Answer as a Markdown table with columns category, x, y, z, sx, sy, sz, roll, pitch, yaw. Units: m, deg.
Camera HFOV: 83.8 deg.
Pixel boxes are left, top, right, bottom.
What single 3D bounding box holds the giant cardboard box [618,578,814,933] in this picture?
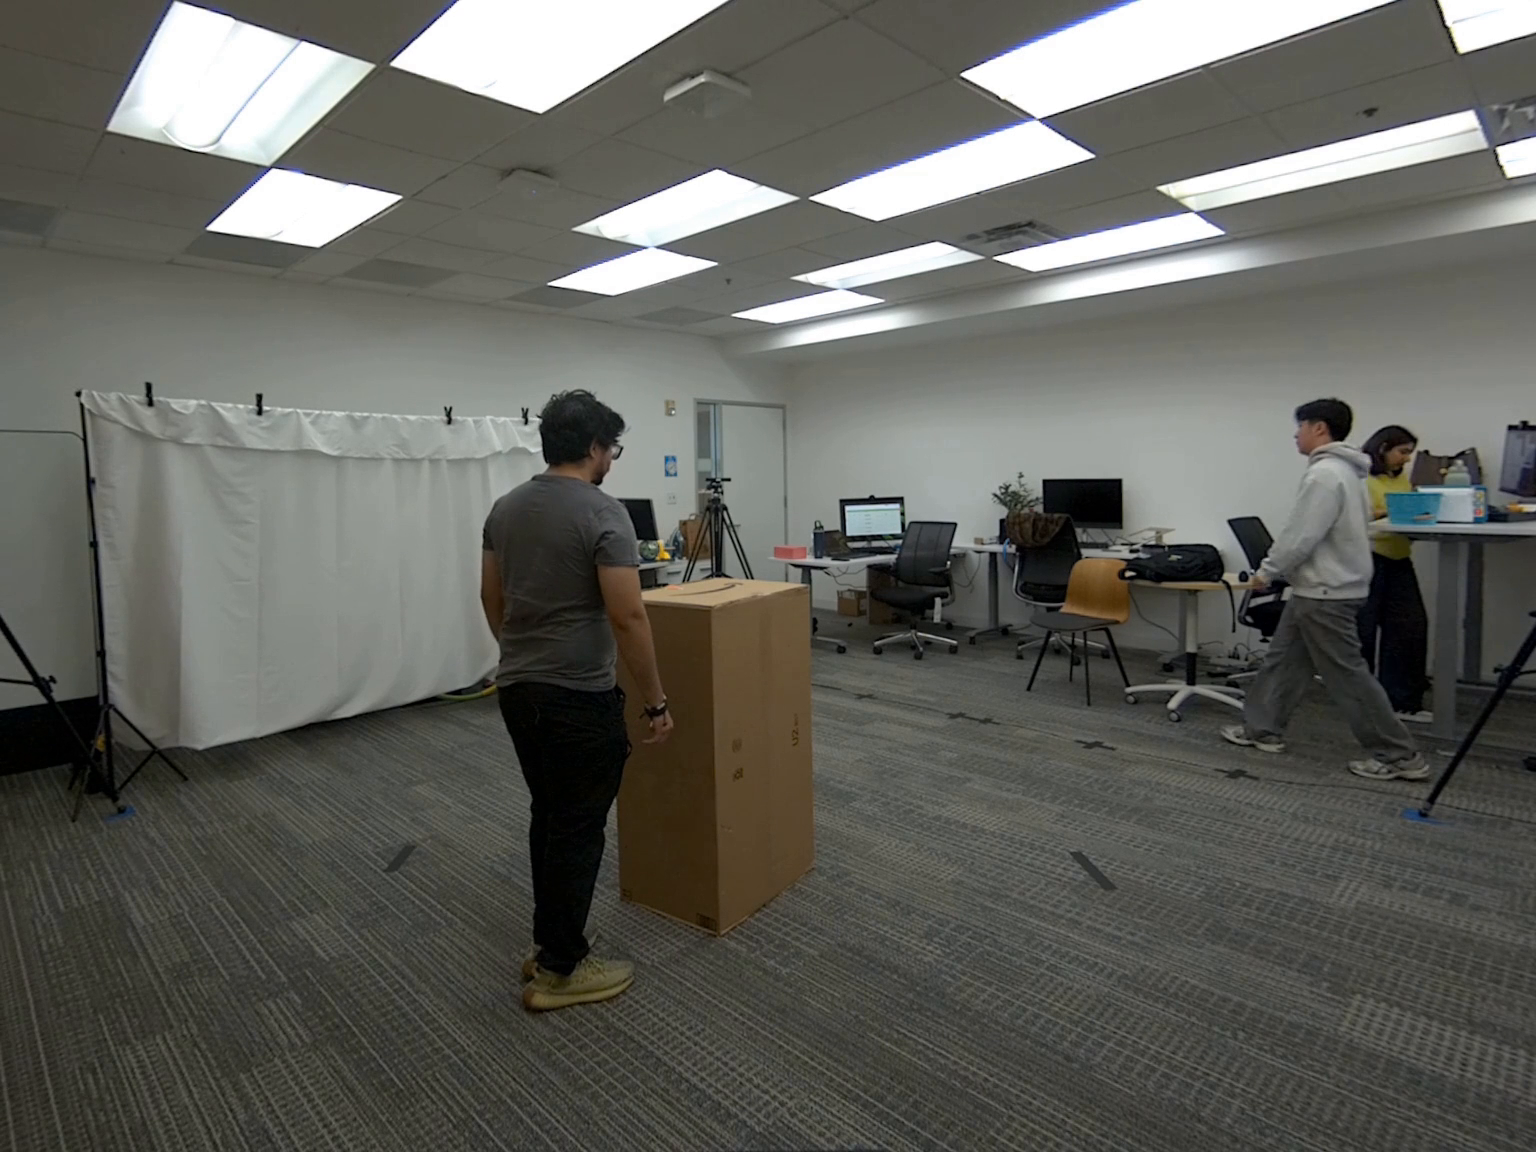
| category | x | y | z | sx | sy | sz | roll | pitch | yaw |
| --- | --- | --- | --- | --- | --- | --- | --- | --- | --- |
| giant cardboard box | -0.174 | 0.561 | 2.922 | 0.459 | 1.023 | 0.570 | 2 | 6 | 34 |
